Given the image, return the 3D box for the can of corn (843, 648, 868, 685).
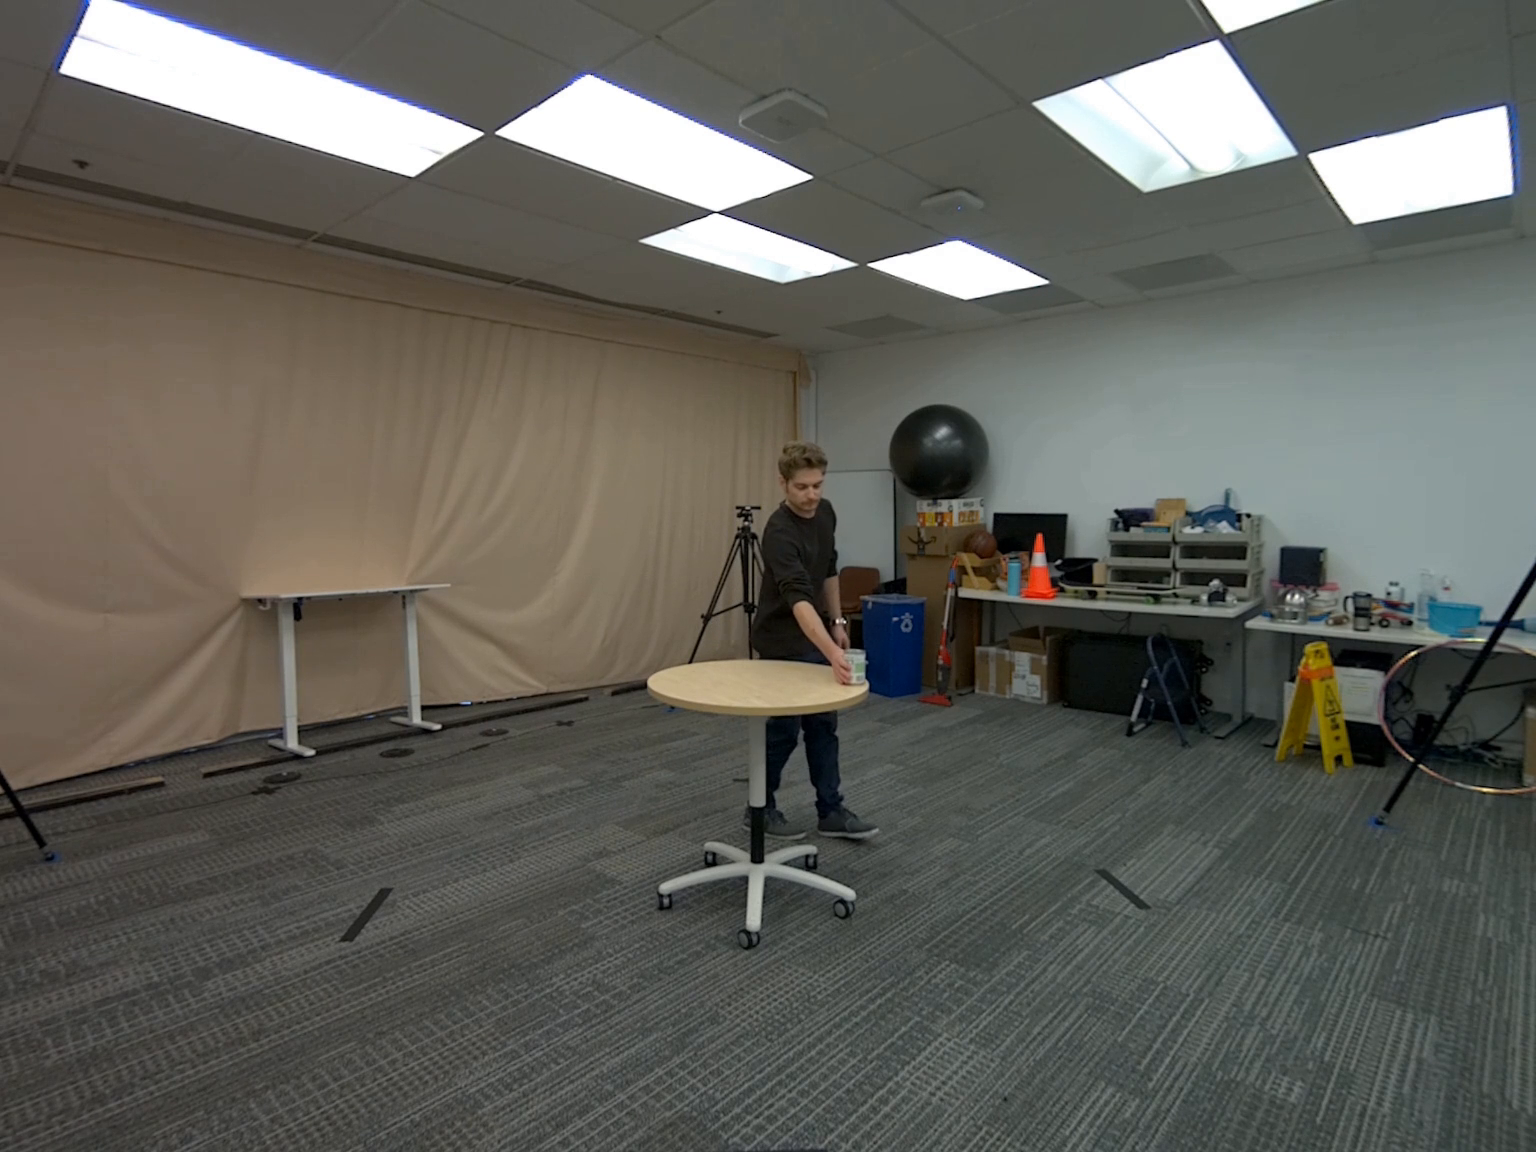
[{"bbox_3d":[0.295,0.311,2.879,0.074,0.111,0.074,1,4,-2],"label":"can of corn"}]
